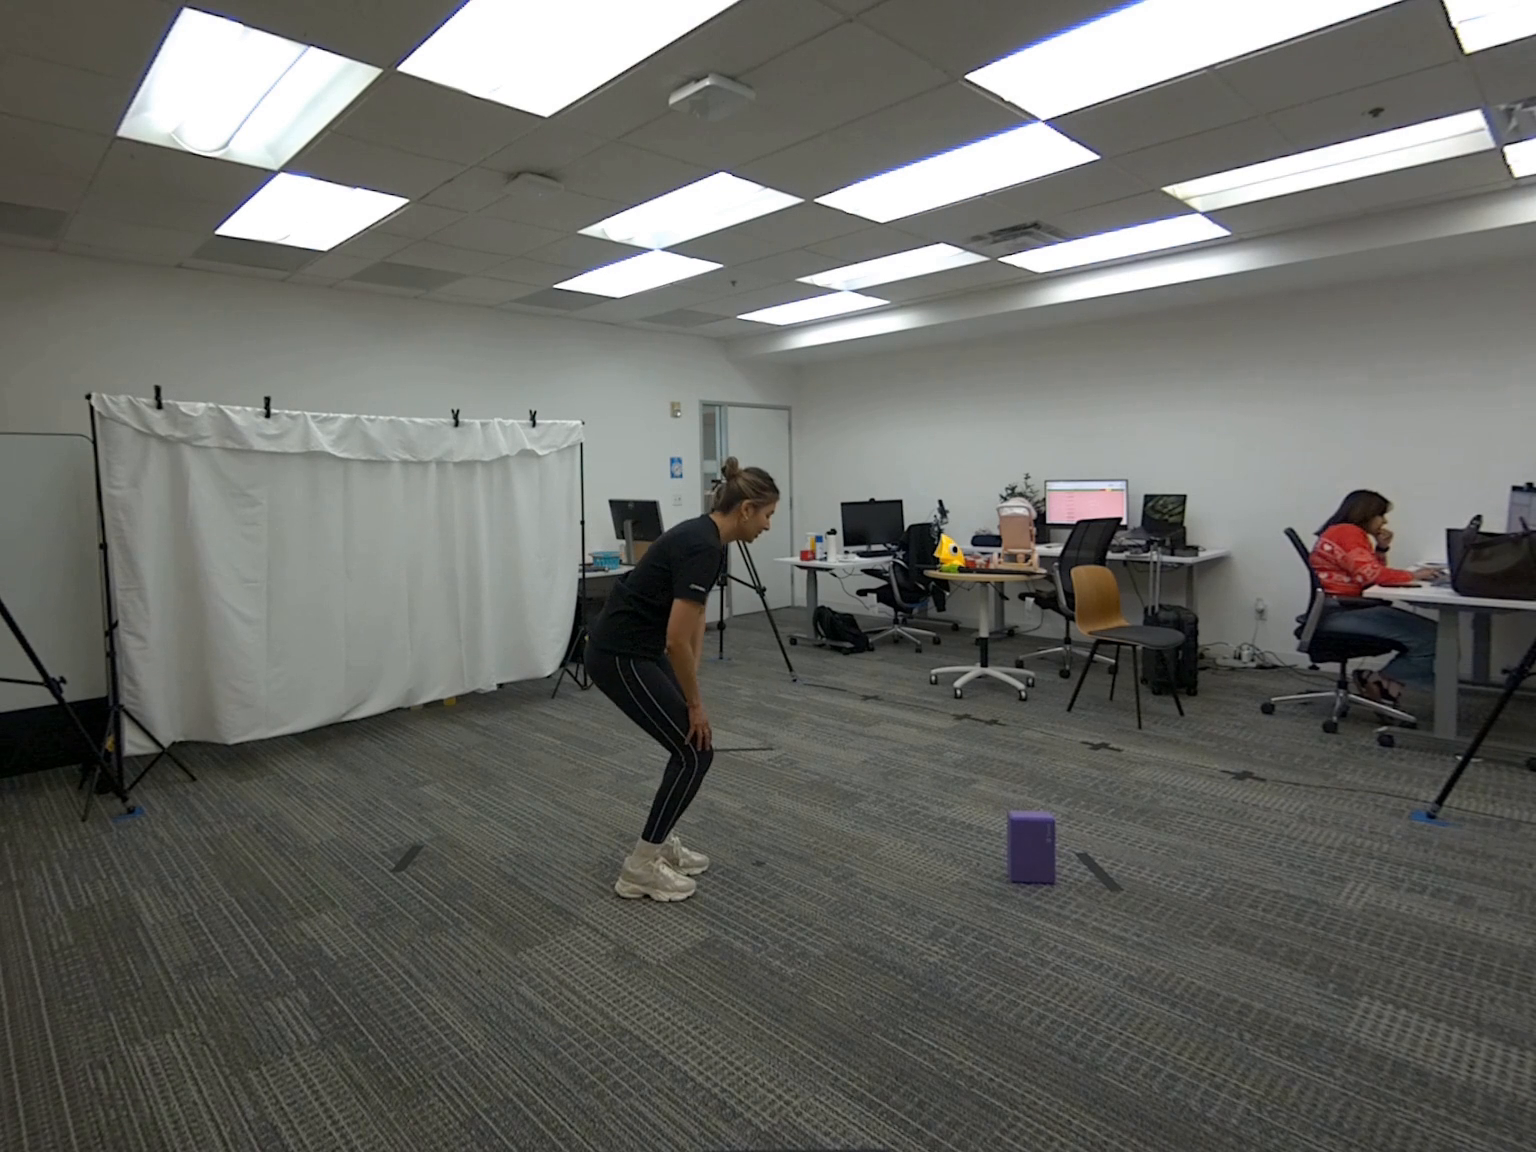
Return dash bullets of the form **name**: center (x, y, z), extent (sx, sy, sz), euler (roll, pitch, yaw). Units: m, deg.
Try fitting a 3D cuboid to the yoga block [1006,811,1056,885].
- **yoga block**: center (0.905, 0.929, 2.934), extent (0.150, 0.229, 0.076), euler (0, 3, 8)
